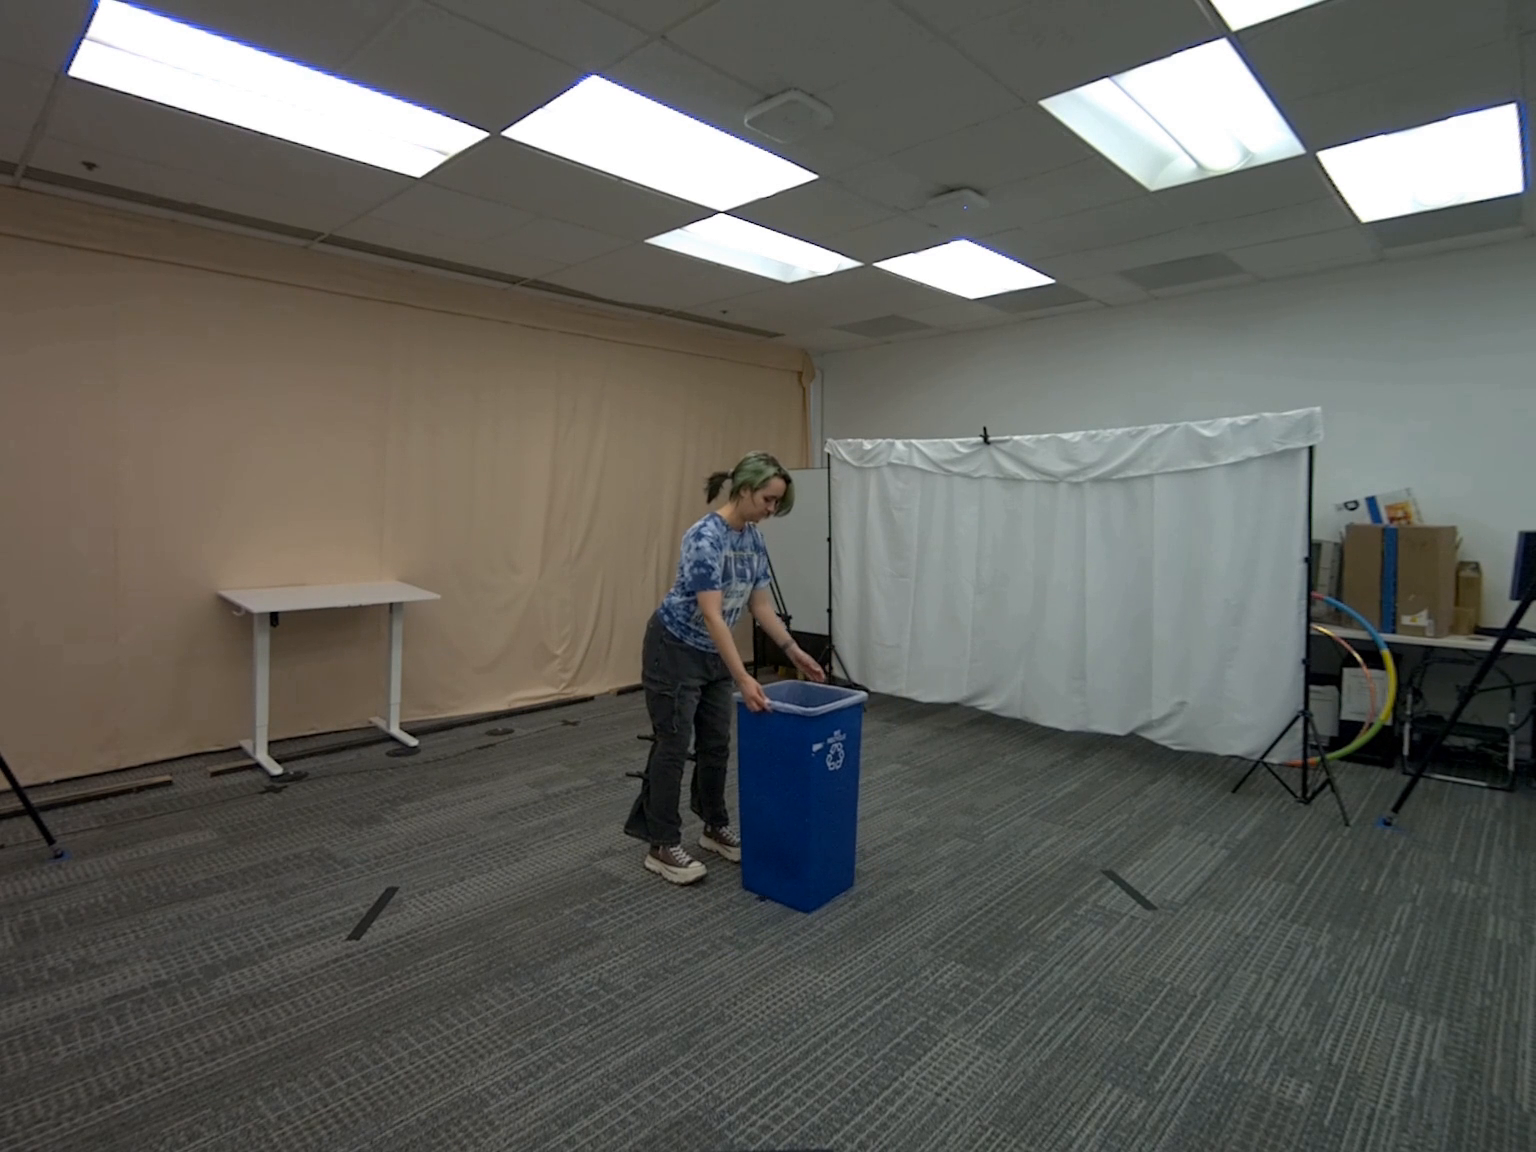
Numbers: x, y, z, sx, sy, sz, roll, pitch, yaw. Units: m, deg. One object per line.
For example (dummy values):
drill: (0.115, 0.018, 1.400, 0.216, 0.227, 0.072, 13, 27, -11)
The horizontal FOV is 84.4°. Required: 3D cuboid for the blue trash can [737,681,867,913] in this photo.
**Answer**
blue trash can: (0.120, 0.779, 3.063, 0.390, 0.712, 0.363, 3, 5, 40)
